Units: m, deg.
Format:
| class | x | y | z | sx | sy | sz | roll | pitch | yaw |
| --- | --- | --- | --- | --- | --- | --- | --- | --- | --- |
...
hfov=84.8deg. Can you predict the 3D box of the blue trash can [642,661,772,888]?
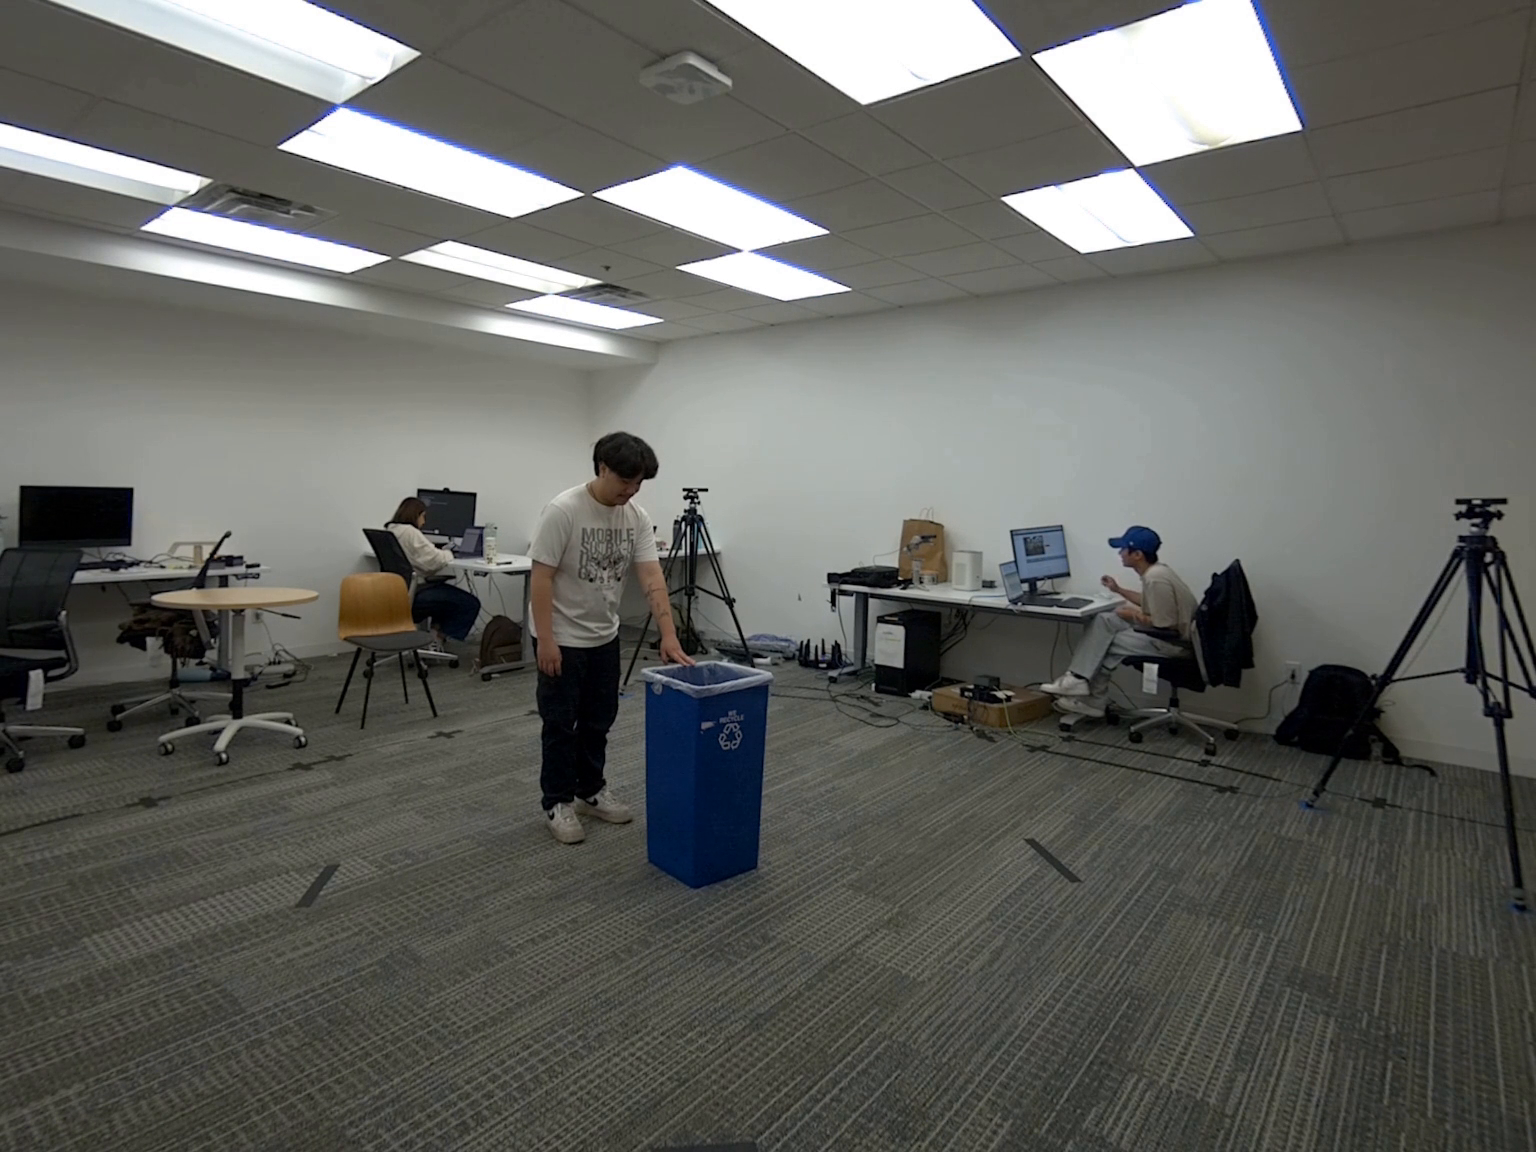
| class | x | y | z | sx | sy | sz | roll | pitch | yaw |
| --- | --- | --- | --- | --- | --- | --- | --- | --- | --- |
| blue trash can | -0.239 | 0.706 | 3.145 | 0.363 | 0.711 | 0.391 | -2 | 4 | -41 |
